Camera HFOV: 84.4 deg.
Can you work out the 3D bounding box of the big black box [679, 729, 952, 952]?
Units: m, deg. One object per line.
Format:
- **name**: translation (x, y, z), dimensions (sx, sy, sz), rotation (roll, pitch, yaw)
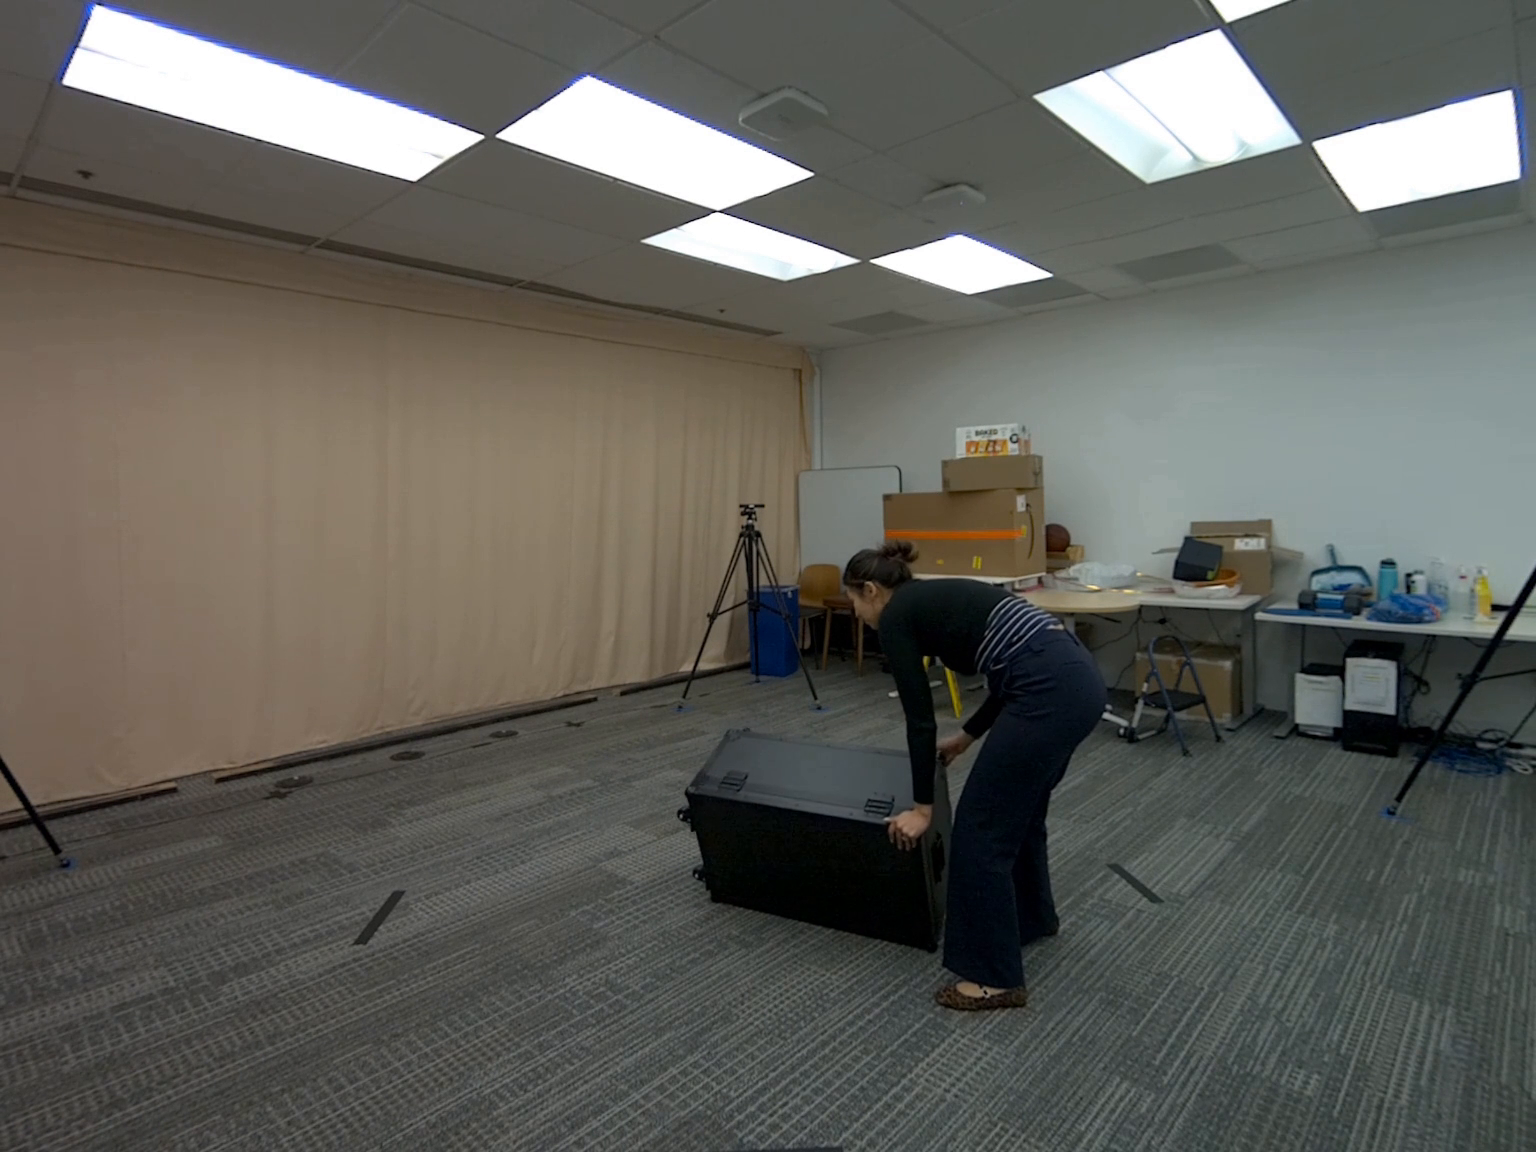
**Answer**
- **big black box**: translation (0.160, 0.852, 2.857), dimensions (0.884, 0.512, 0.392), rotation (2, 25, 26)
